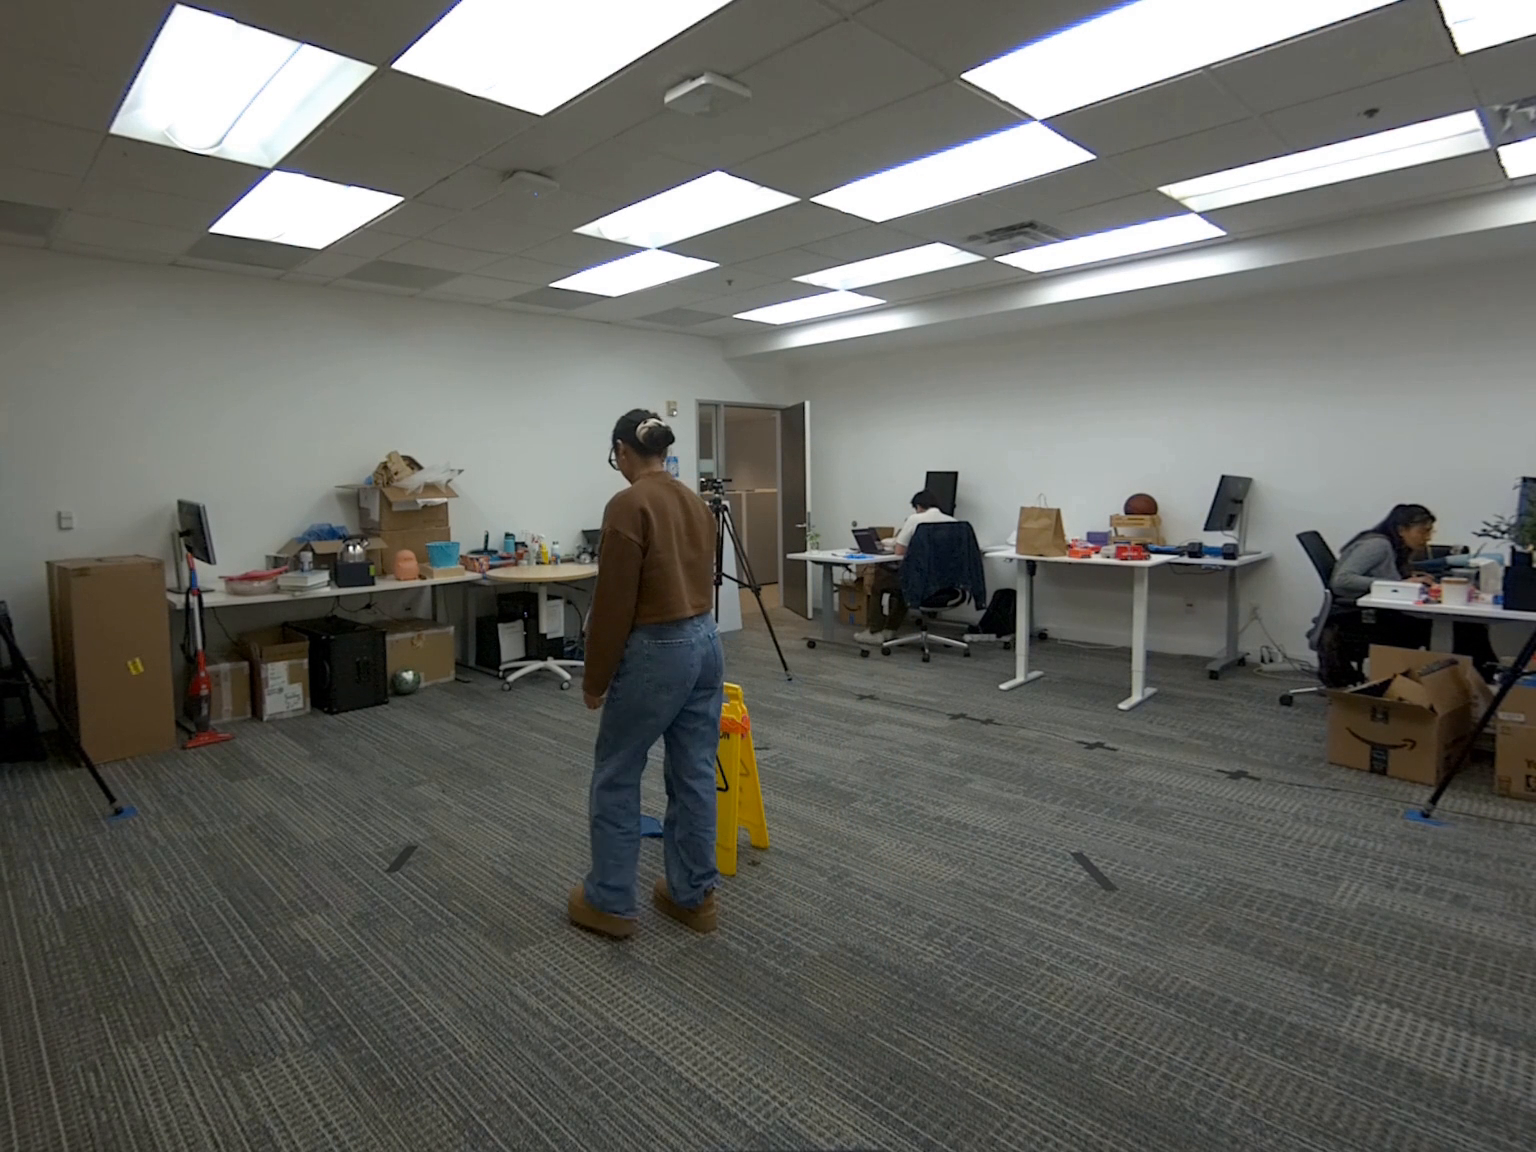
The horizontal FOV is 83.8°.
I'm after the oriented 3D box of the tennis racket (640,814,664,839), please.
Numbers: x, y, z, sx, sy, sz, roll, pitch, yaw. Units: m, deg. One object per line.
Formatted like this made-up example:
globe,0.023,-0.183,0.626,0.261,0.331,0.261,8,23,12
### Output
tennis racket,-0.478,1.005,3.398,0.445,0.031,0.208,1,5,35
